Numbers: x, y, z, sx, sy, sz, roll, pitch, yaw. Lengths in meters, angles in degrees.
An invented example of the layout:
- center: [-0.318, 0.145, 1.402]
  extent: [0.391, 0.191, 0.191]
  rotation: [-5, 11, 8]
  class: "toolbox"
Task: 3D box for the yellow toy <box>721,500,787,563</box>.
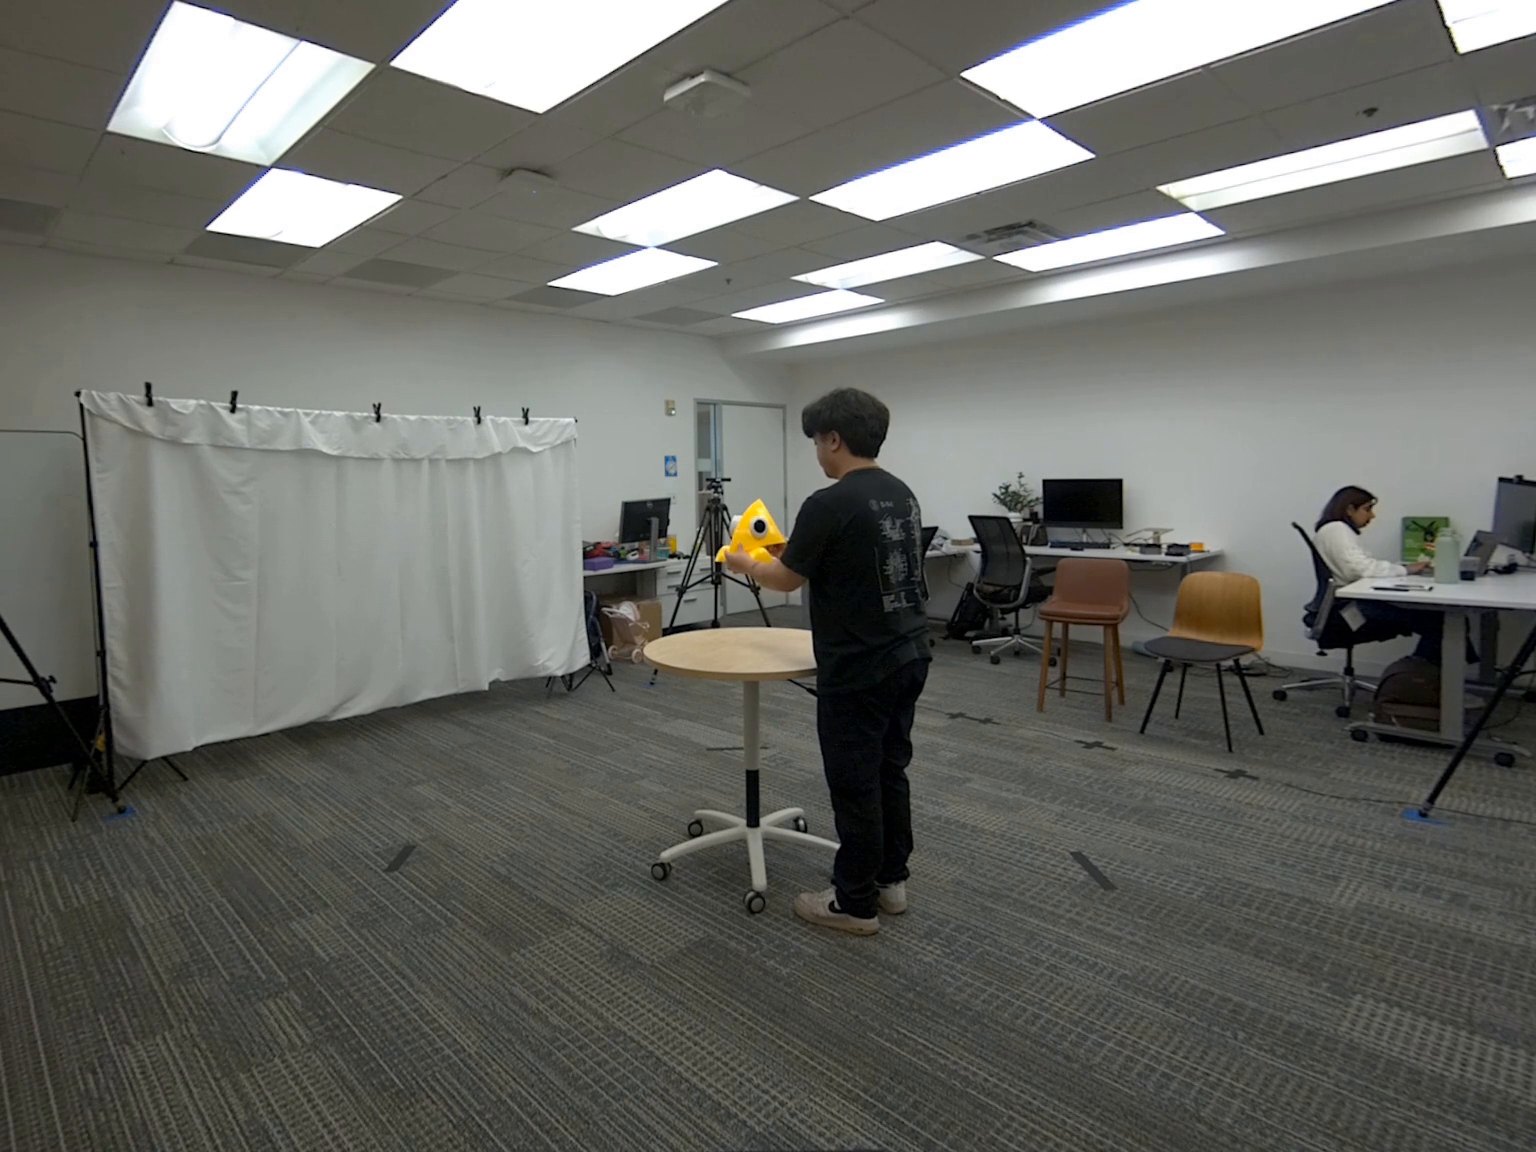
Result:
- center: [-0.078, -0.163, 3.040]
  extent: [0.211, 0.231, 0.187]
  rotation: [2, 1, 40]
  class: "yellow toy"
